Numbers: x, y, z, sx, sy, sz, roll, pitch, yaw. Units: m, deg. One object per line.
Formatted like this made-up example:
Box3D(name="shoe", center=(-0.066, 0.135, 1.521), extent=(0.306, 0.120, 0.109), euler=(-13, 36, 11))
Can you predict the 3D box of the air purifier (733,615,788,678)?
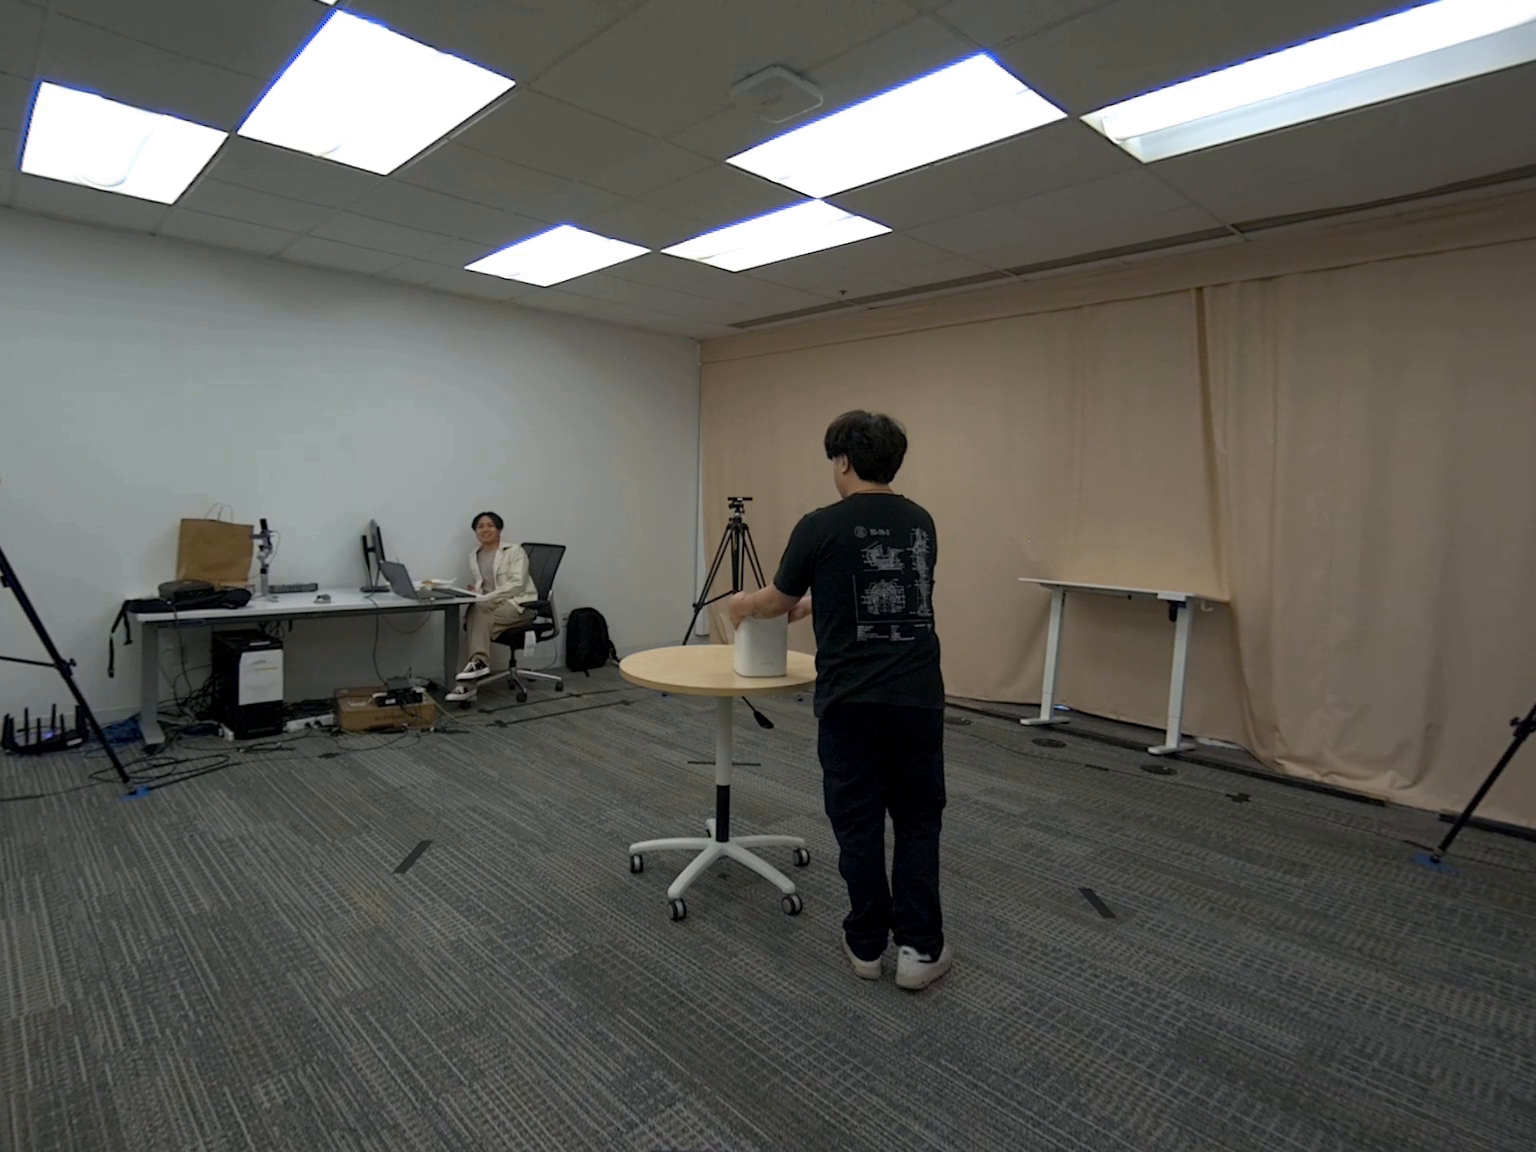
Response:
Box3D(name="air purifier", center=(-0.031, 0.207, 2.909), extent=(0.170, 0.264, 0.174), euler=(0, 6, -10))
